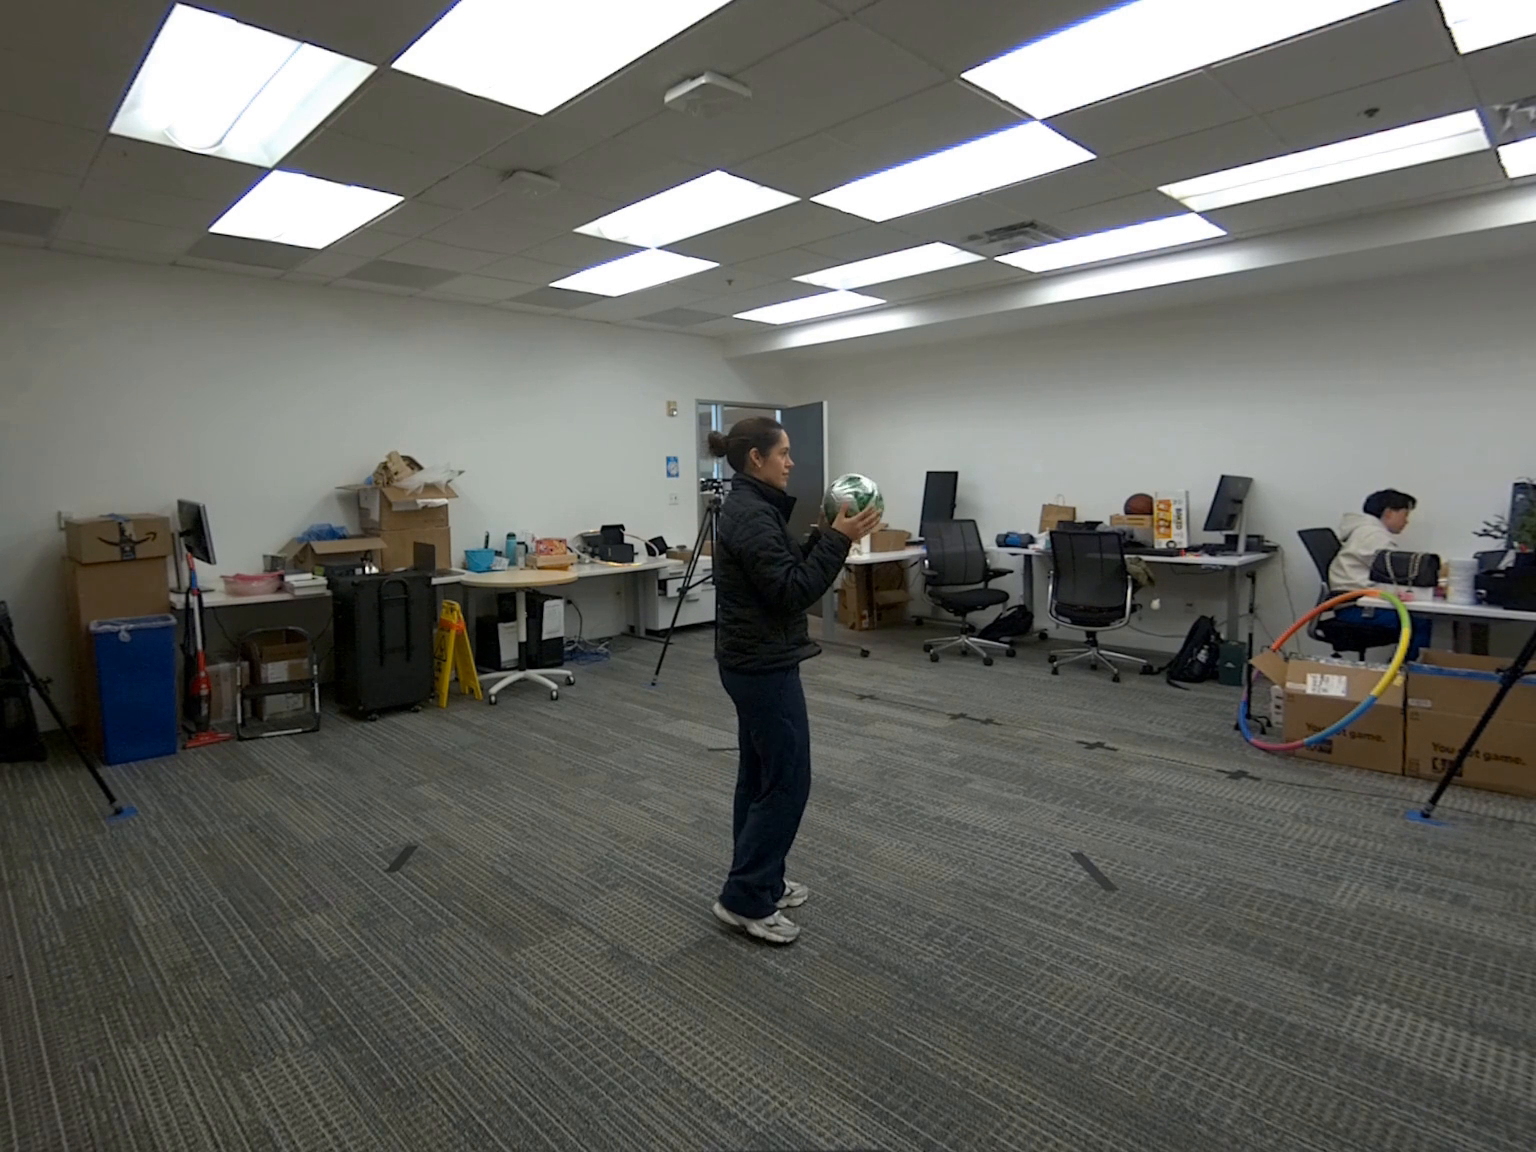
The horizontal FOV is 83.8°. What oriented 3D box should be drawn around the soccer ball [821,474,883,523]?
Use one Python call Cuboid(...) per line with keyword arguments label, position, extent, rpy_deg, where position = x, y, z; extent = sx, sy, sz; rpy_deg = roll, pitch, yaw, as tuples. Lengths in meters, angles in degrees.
Cuboid(label="soccer ball", position=(0.252, -0.210, 2.608), extent=(0.187, 0.187, 0.188), rpy_deg=(-1, 5, -2))
